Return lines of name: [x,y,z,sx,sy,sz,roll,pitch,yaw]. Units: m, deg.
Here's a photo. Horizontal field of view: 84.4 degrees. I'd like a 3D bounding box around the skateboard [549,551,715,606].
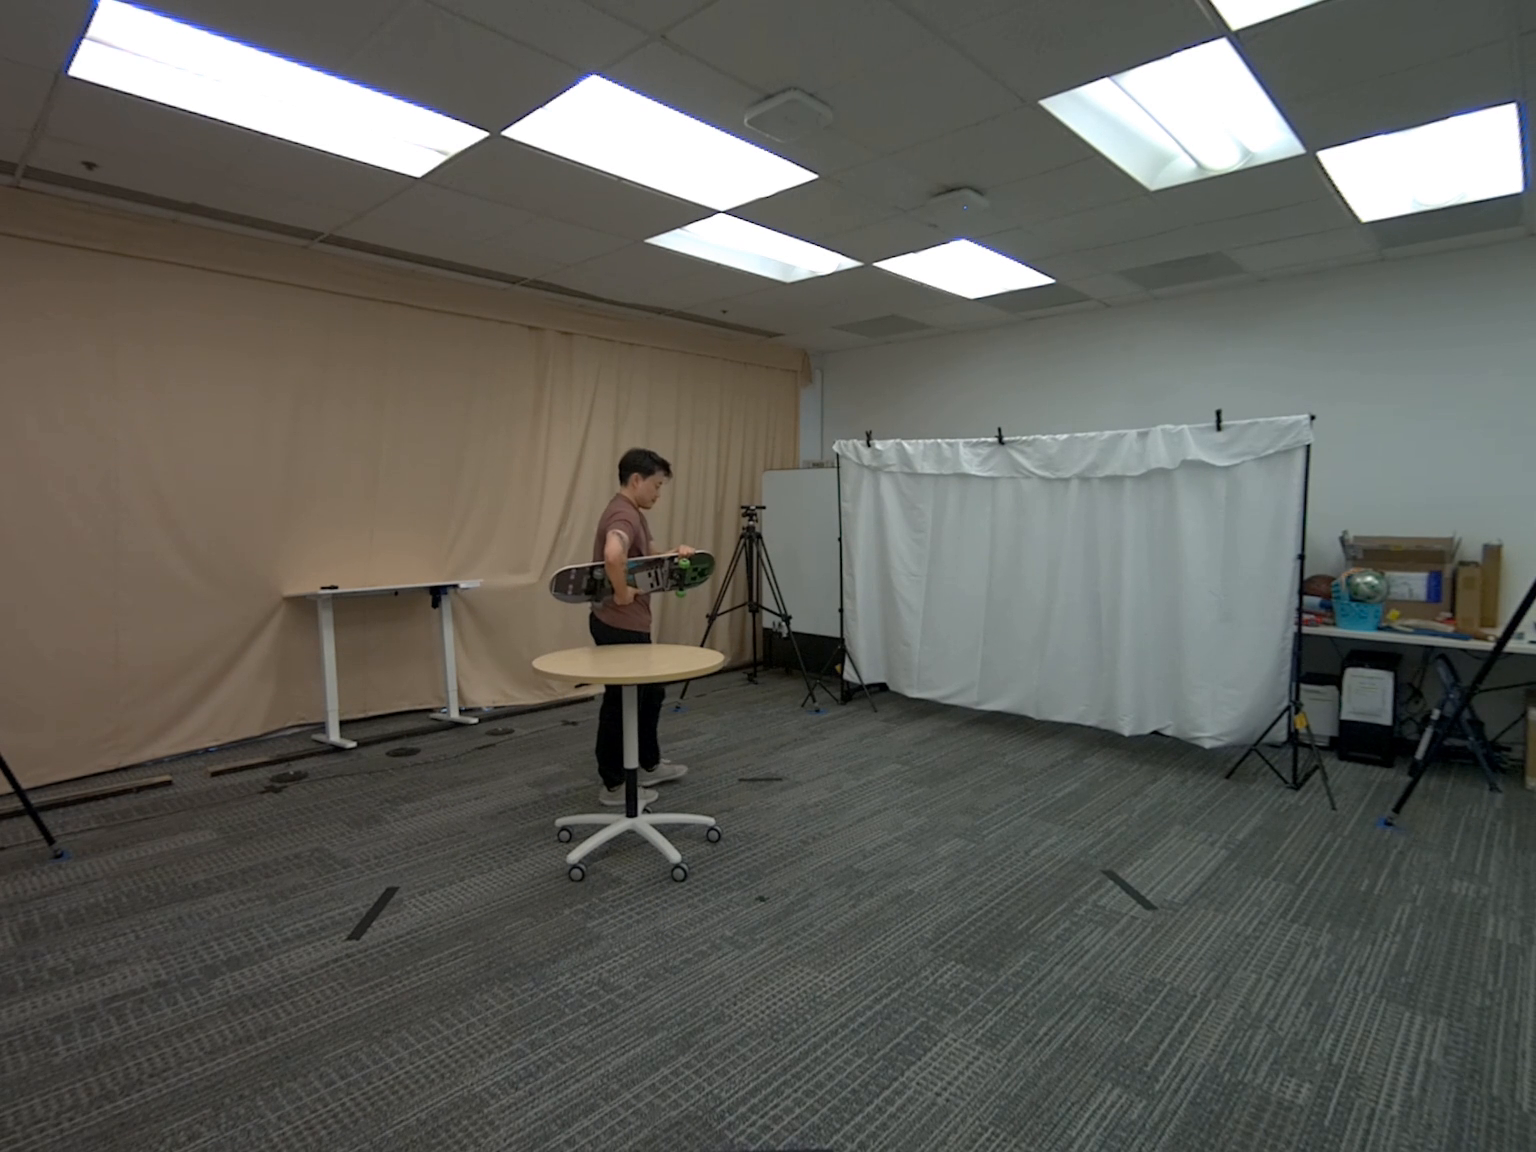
skateboard: [-0.564,0.025,3.777,0.768,0.191,0.114,-8,31,-25]
